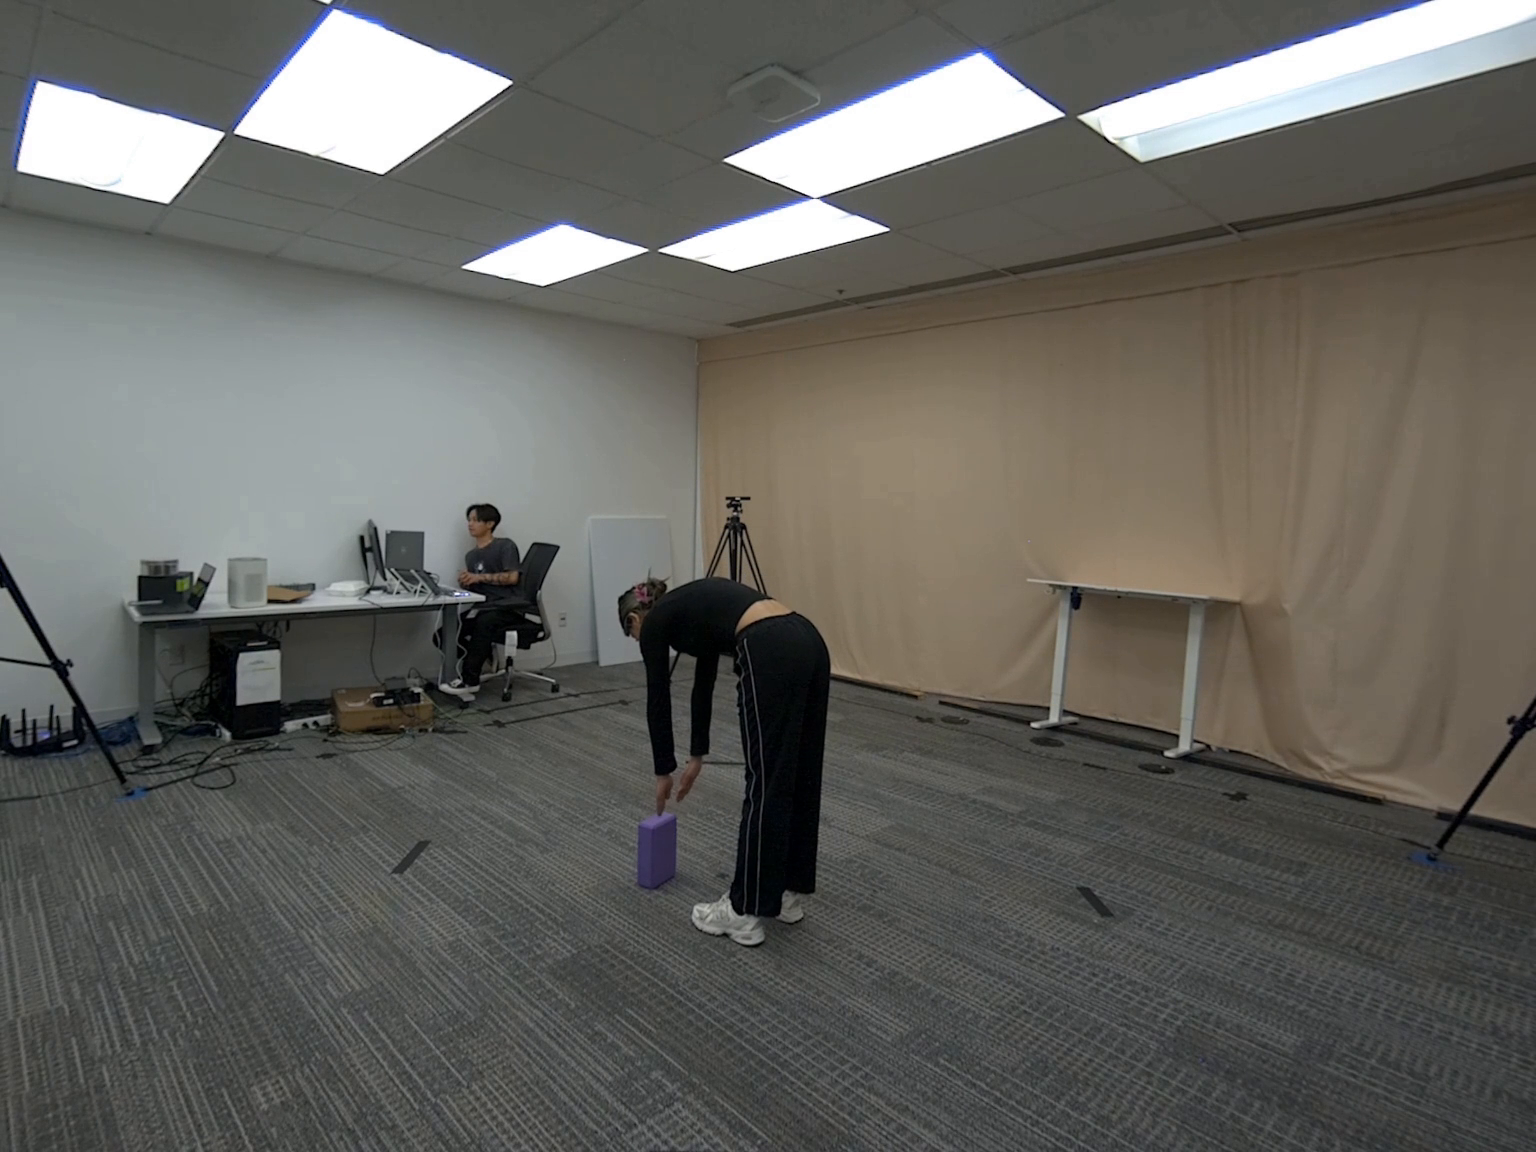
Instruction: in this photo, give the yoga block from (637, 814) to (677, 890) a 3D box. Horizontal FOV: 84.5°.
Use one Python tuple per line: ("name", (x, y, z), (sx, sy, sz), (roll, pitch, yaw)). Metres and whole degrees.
("yoga block", (-0.408, 0.990, 3.043), (0.078, 0.229, 0.146), (3, 5, 29))
